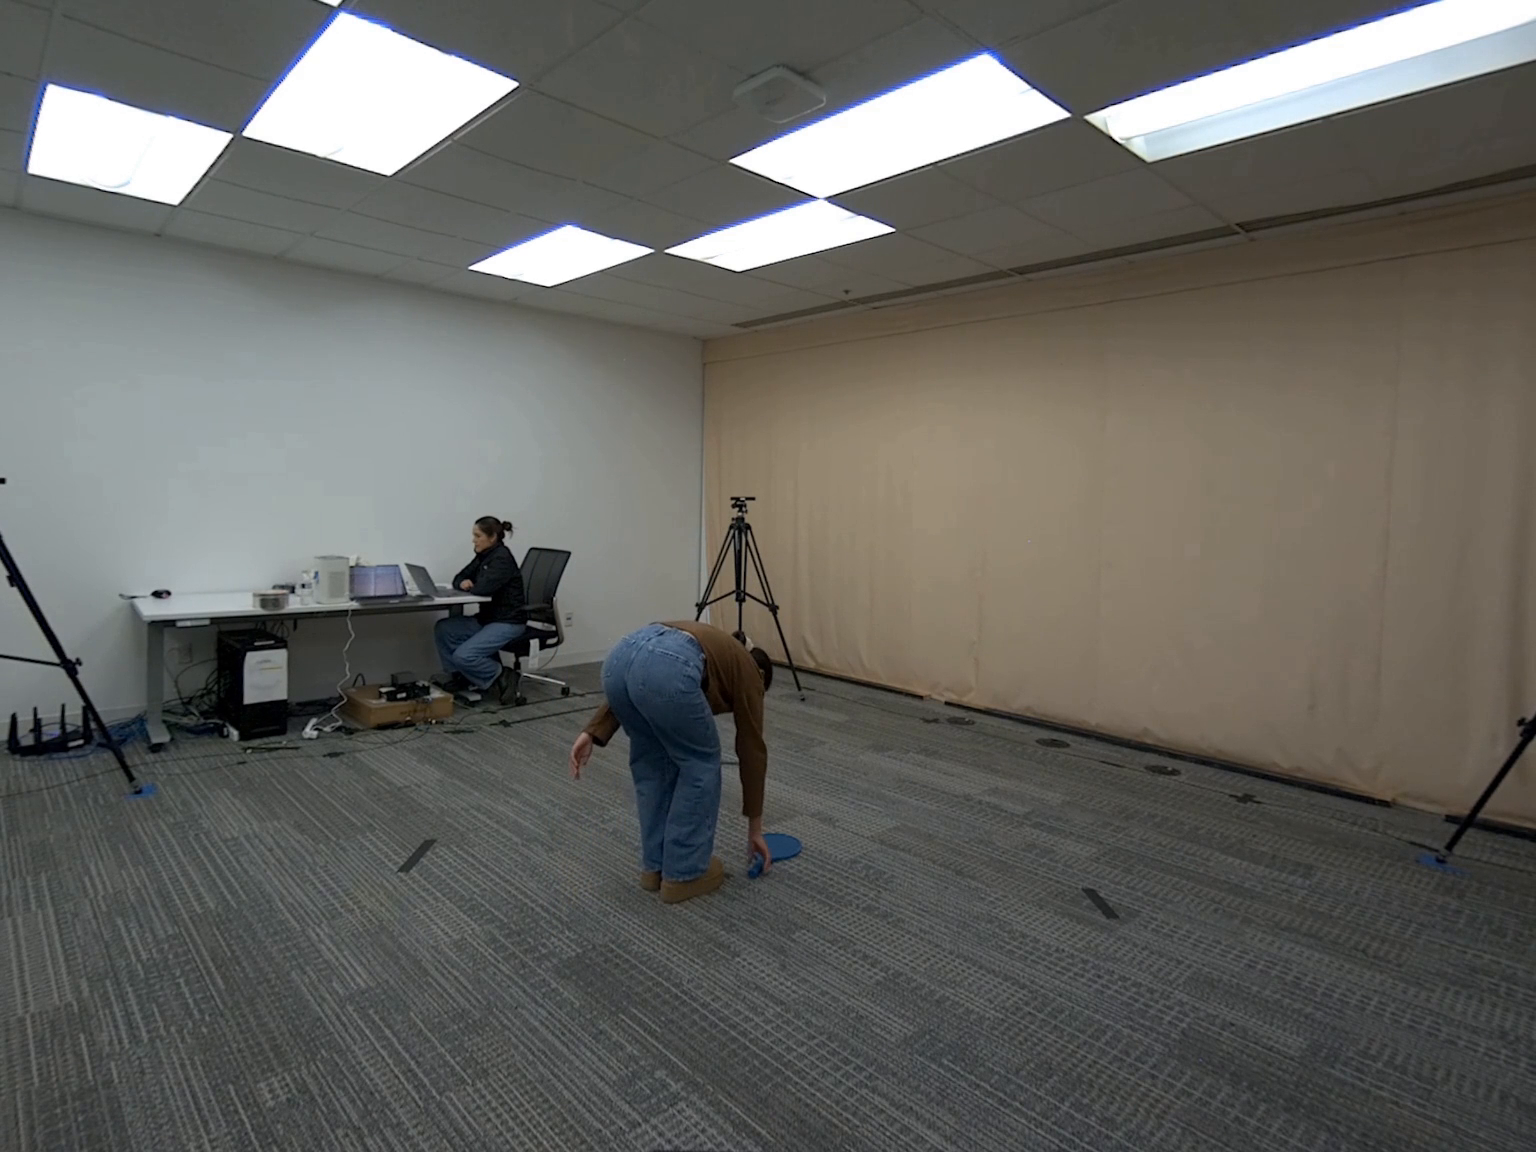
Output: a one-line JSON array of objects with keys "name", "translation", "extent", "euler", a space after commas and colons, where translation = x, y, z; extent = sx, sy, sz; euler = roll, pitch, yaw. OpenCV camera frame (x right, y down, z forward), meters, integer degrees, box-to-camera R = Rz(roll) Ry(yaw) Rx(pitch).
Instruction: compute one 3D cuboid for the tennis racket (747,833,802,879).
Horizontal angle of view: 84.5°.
[{"name": "tennis racket", "translation": [-0.005, 1.077, 3.285], "extent": [0.217, 0.032, 0.427], "euler": [3, 4, 17]}]
